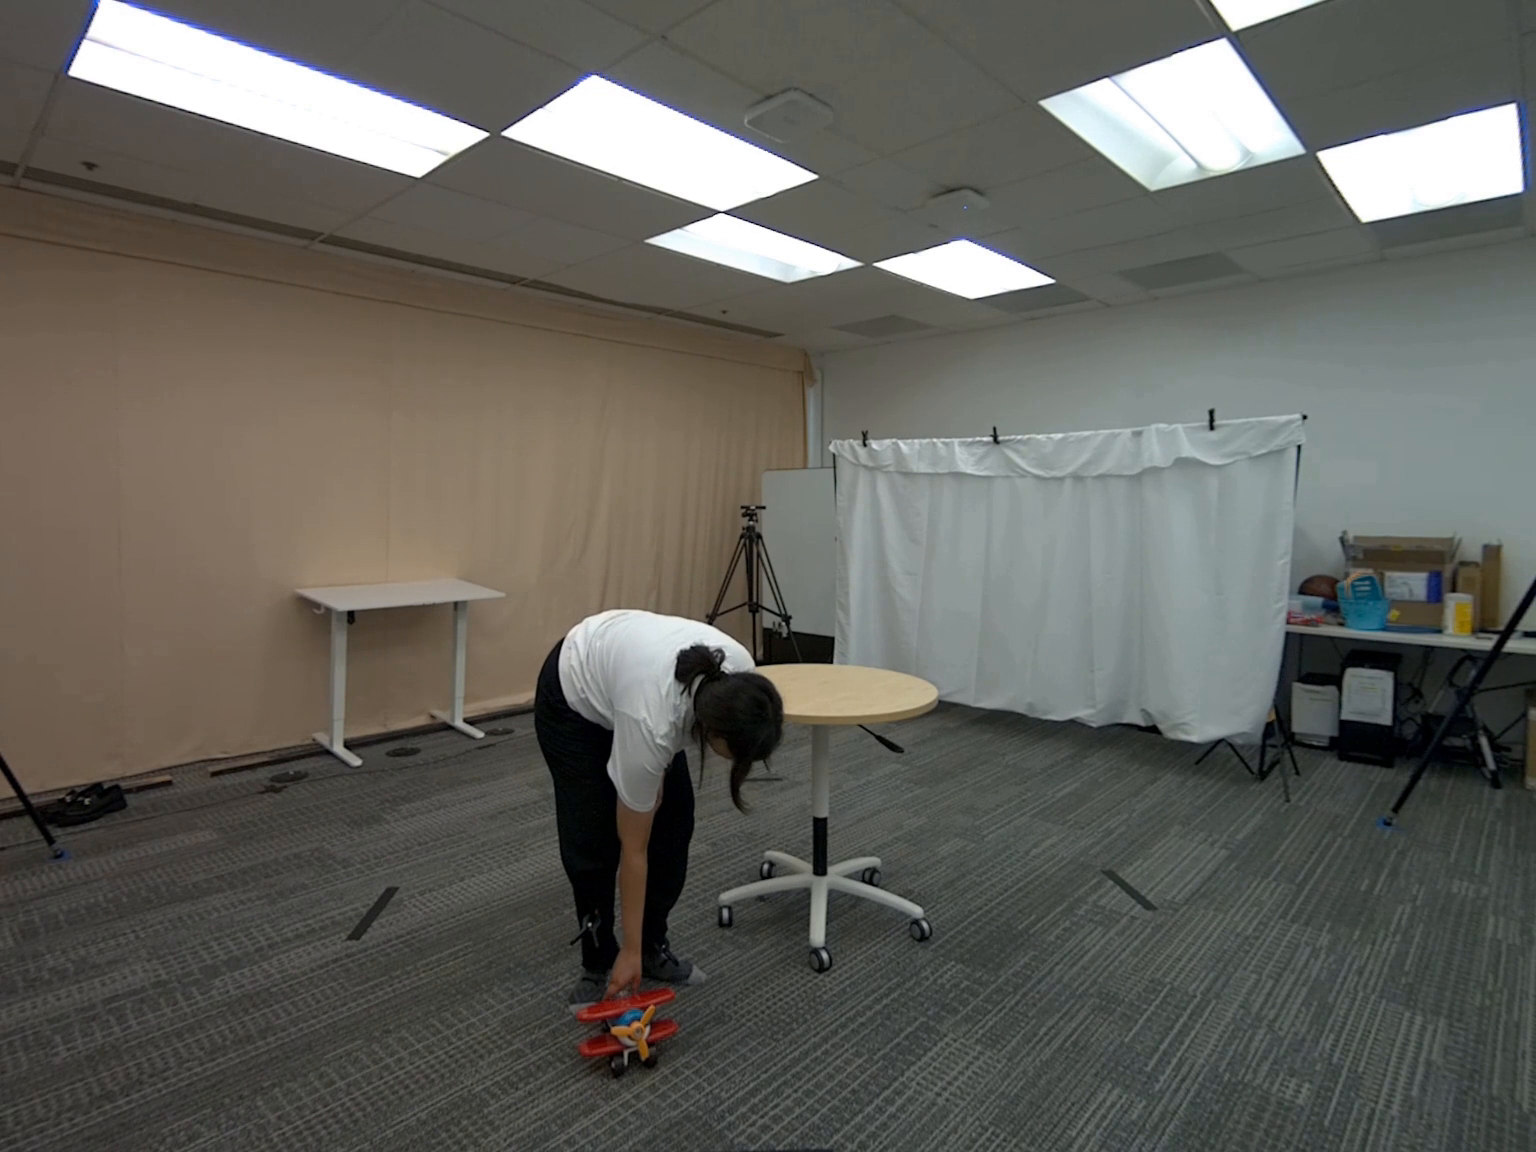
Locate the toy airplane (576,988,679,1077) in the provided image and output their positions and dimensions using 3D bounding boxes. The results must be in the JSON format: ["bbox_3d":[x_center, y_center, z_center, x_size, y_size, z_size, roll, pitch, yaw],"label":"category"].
[{"bbox_3d":[-0.382,1.138,2.147,0.268,0.156,0.244,4,7,37],"label":"toy airplane"}]
